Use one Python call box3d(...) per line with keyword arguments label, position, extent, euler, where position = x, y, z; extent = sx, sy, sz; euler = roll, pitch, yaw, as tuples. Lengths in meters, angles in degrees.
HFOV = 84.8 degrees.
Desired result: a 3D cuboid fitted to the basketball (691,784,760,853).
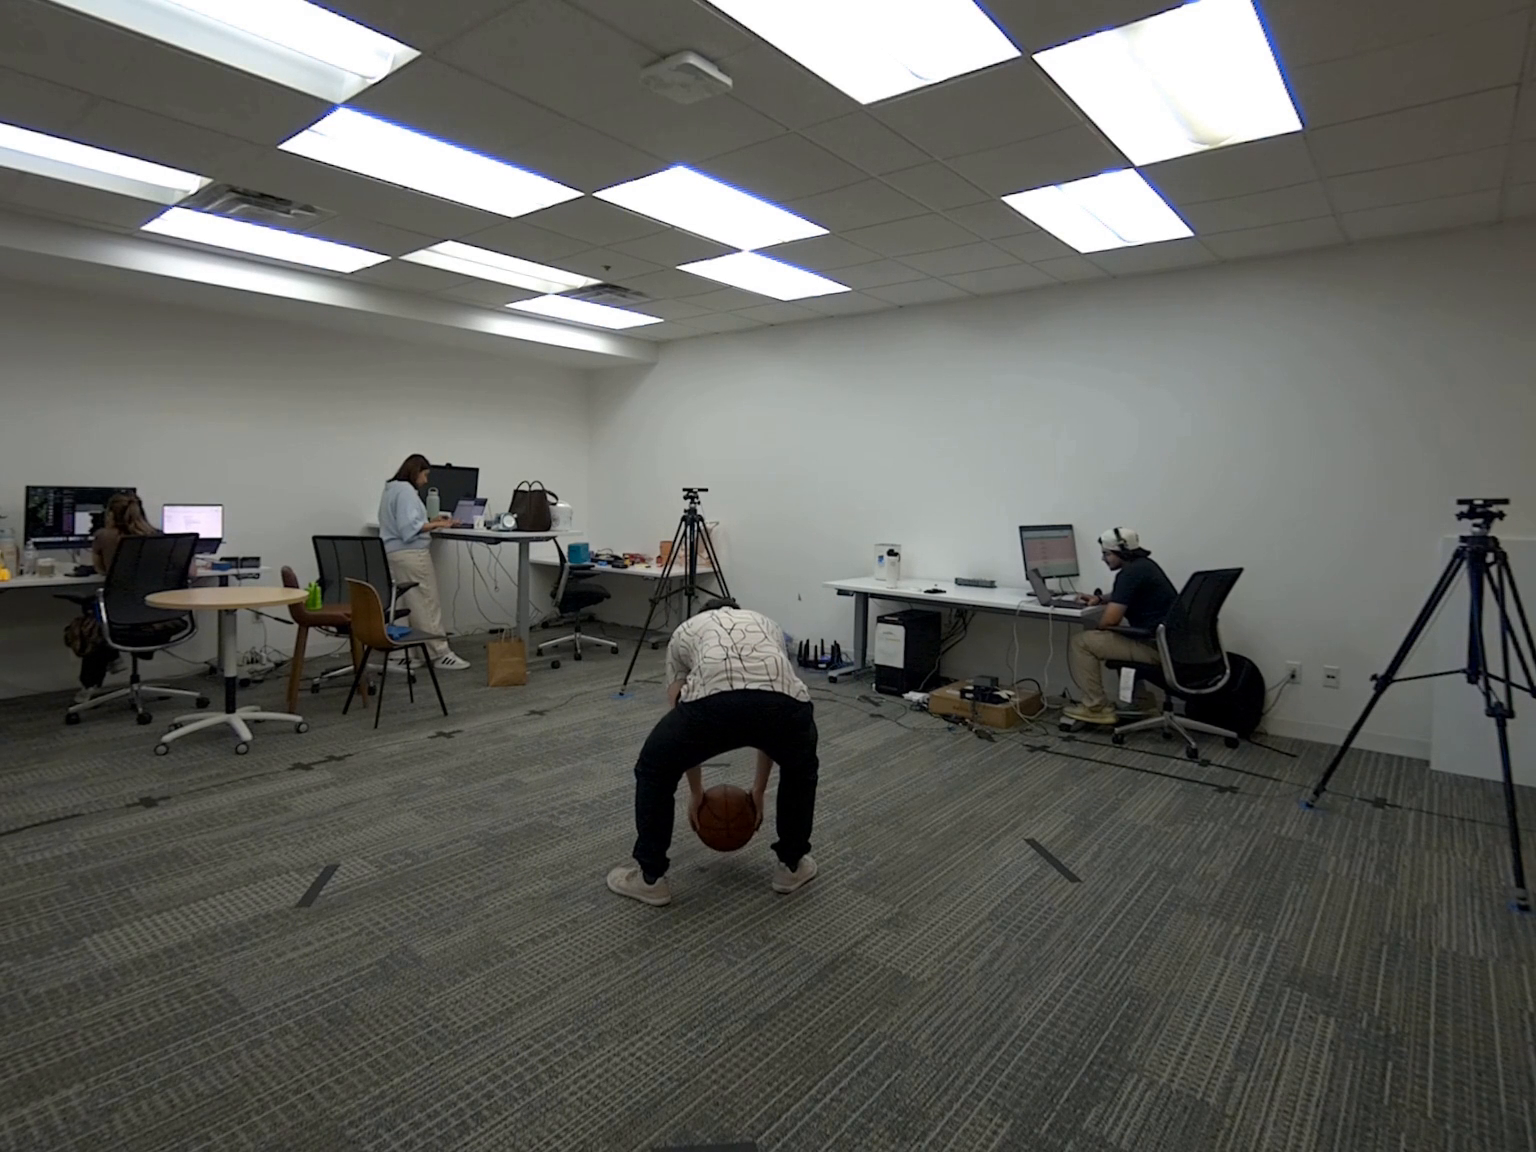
box3d(label="basketball", position=(-0.172, 0.871, 3.151), extent=(0.235, 0.235, 0.237), euler=(1, 4, -2))
